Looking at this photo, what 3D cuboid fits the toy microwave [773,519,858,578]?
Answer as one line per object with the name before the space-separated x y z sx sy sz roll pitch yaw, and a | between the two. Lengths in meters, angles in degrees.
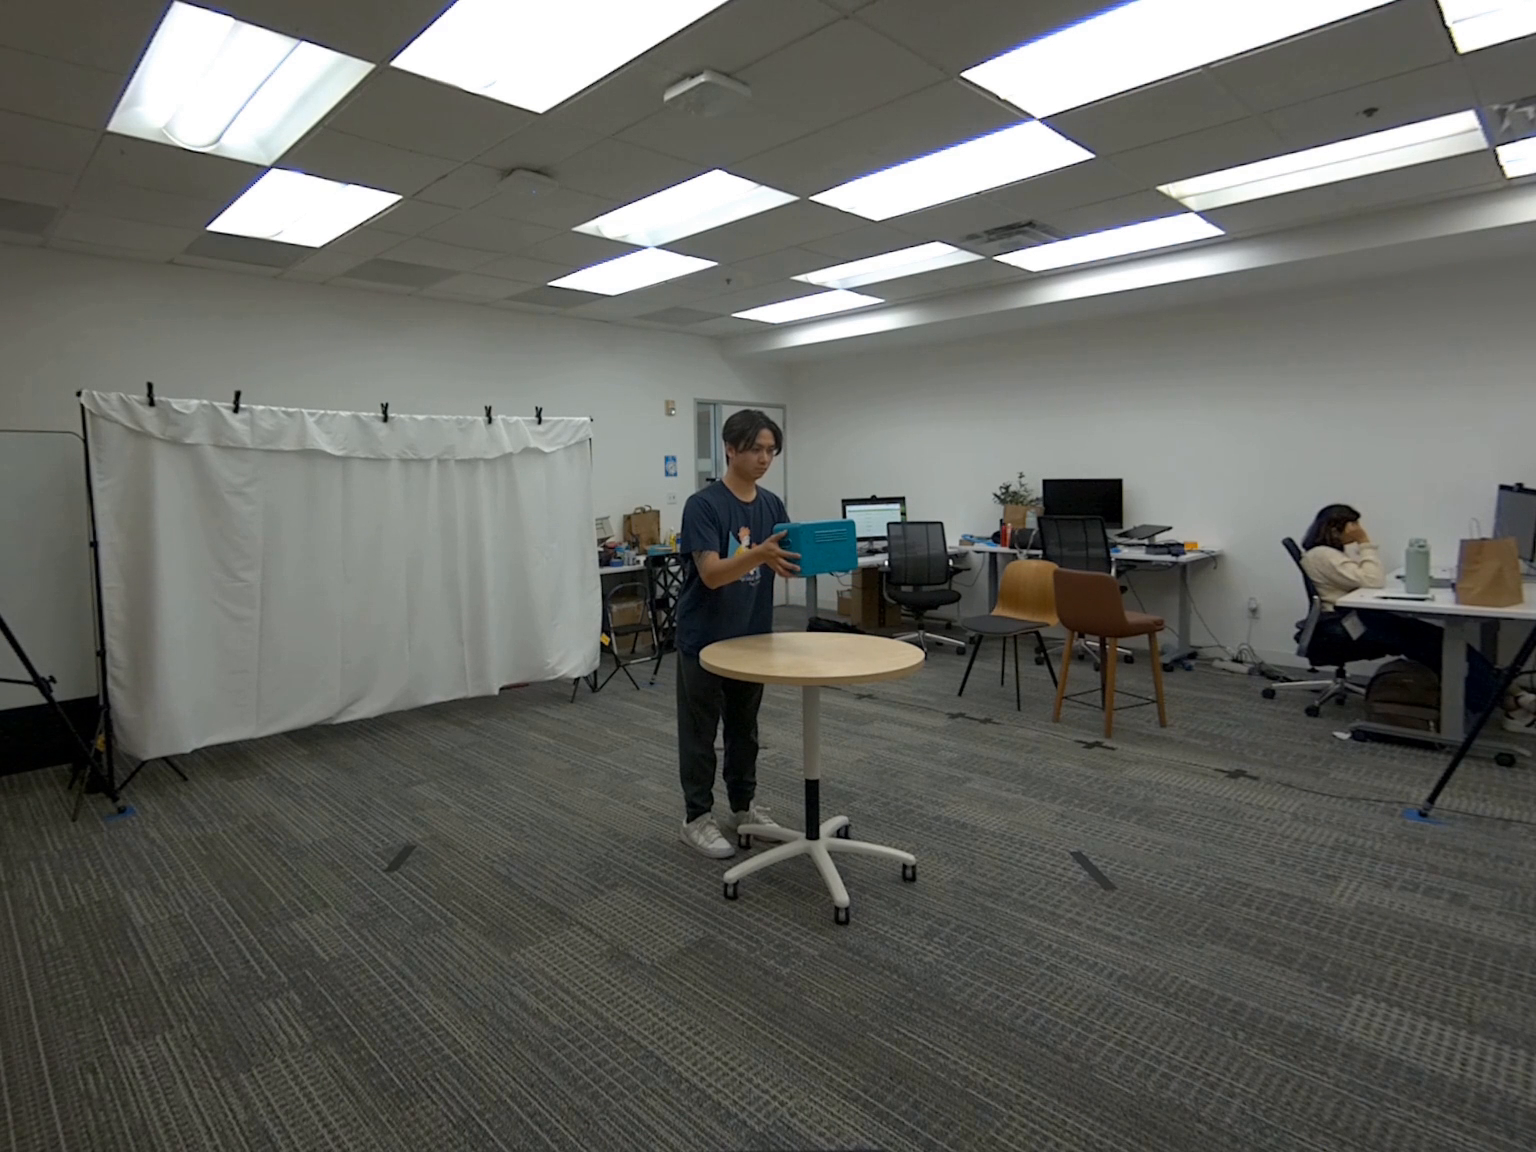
toy microwave | 0.156 -0.094 2.918 0.279 0.184 0.157 -6 4 -40
